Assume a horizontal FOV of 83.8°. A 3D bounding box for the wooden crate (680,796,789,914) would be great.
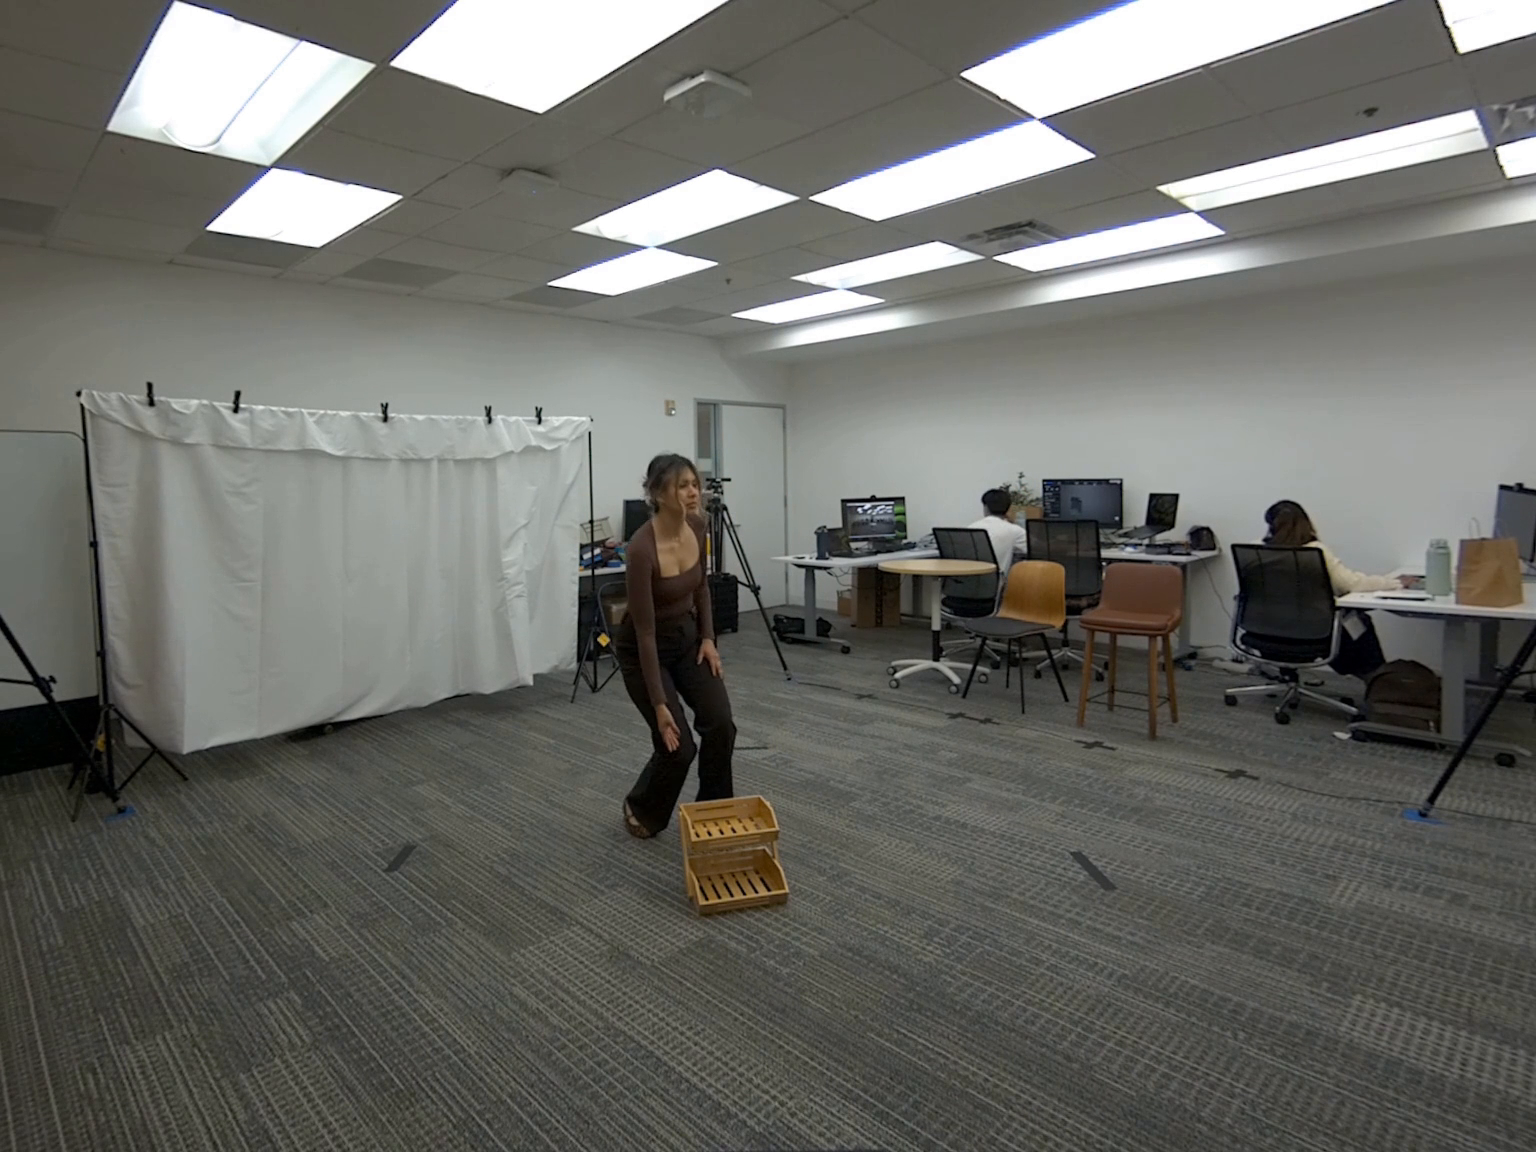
[{"bbox_3d":[-0.118,0.939,2.888,0.320,0.272,0.307,-3,5,-16],"label":"wooden crate"}]
